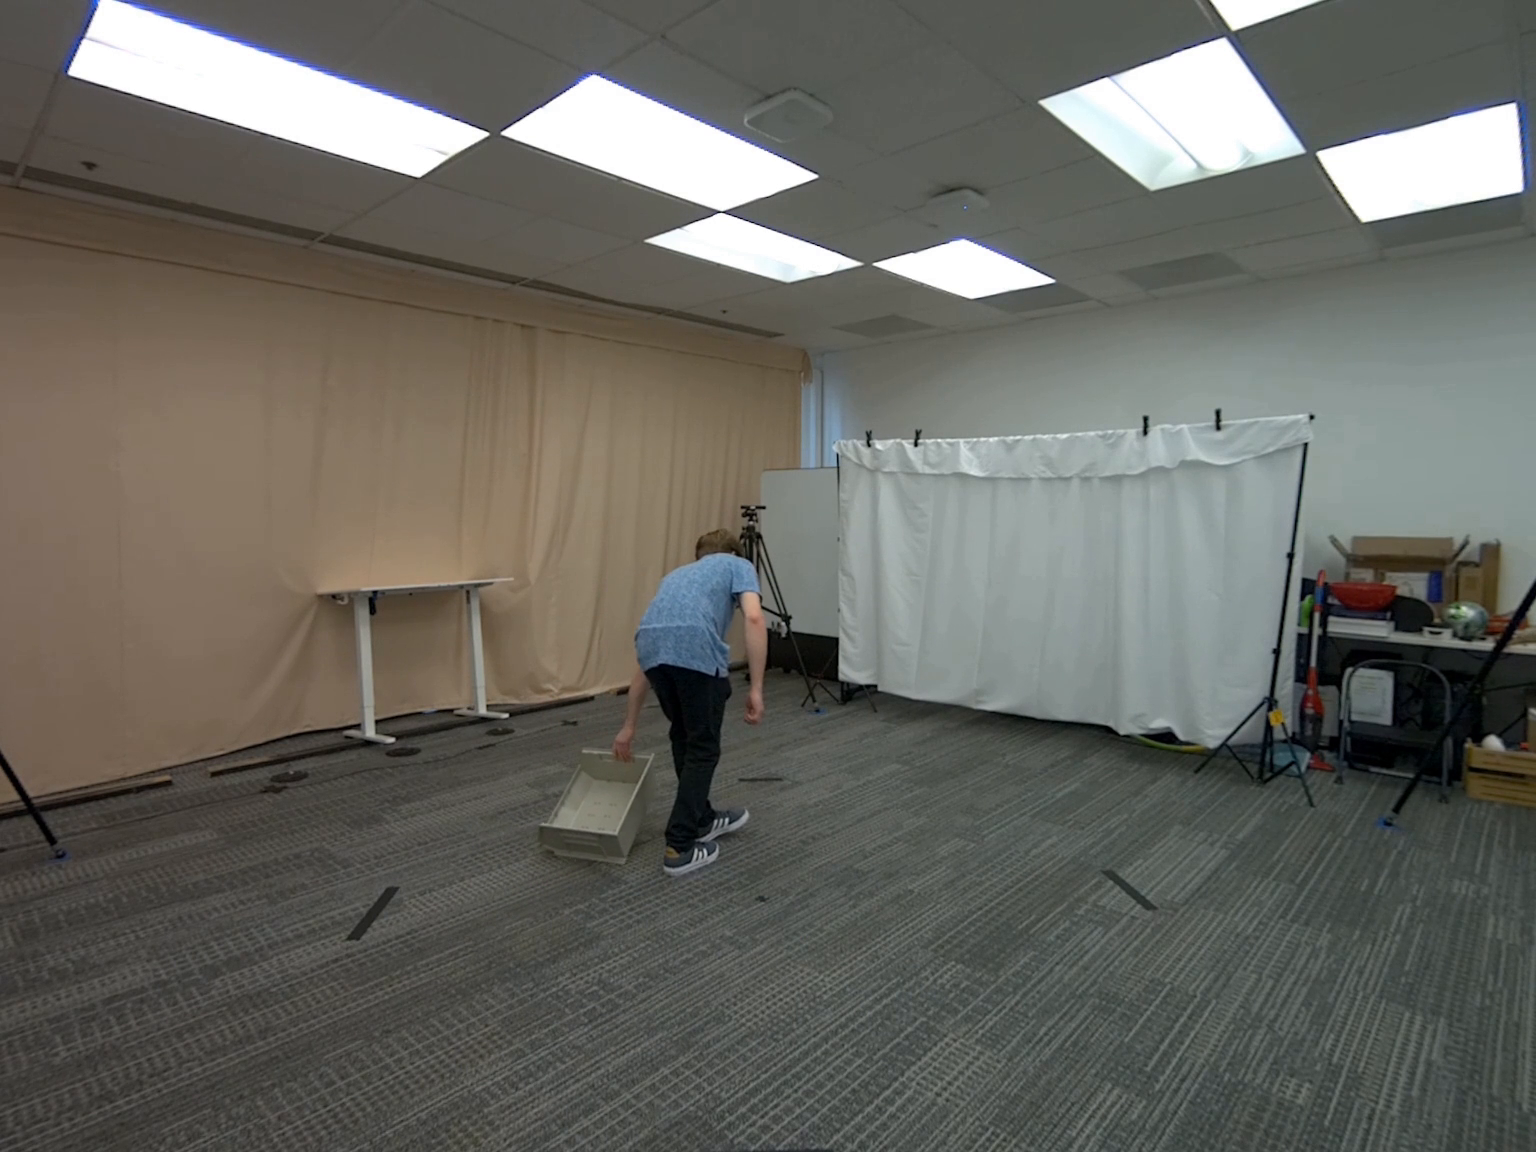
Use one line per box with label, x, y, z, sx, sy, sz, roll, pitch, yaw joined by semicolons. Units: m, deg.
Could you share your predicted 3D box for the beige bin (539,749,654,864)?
beige bin;-0.690;0.923;3.450;0.384;0.185;0.423;0;30;15
